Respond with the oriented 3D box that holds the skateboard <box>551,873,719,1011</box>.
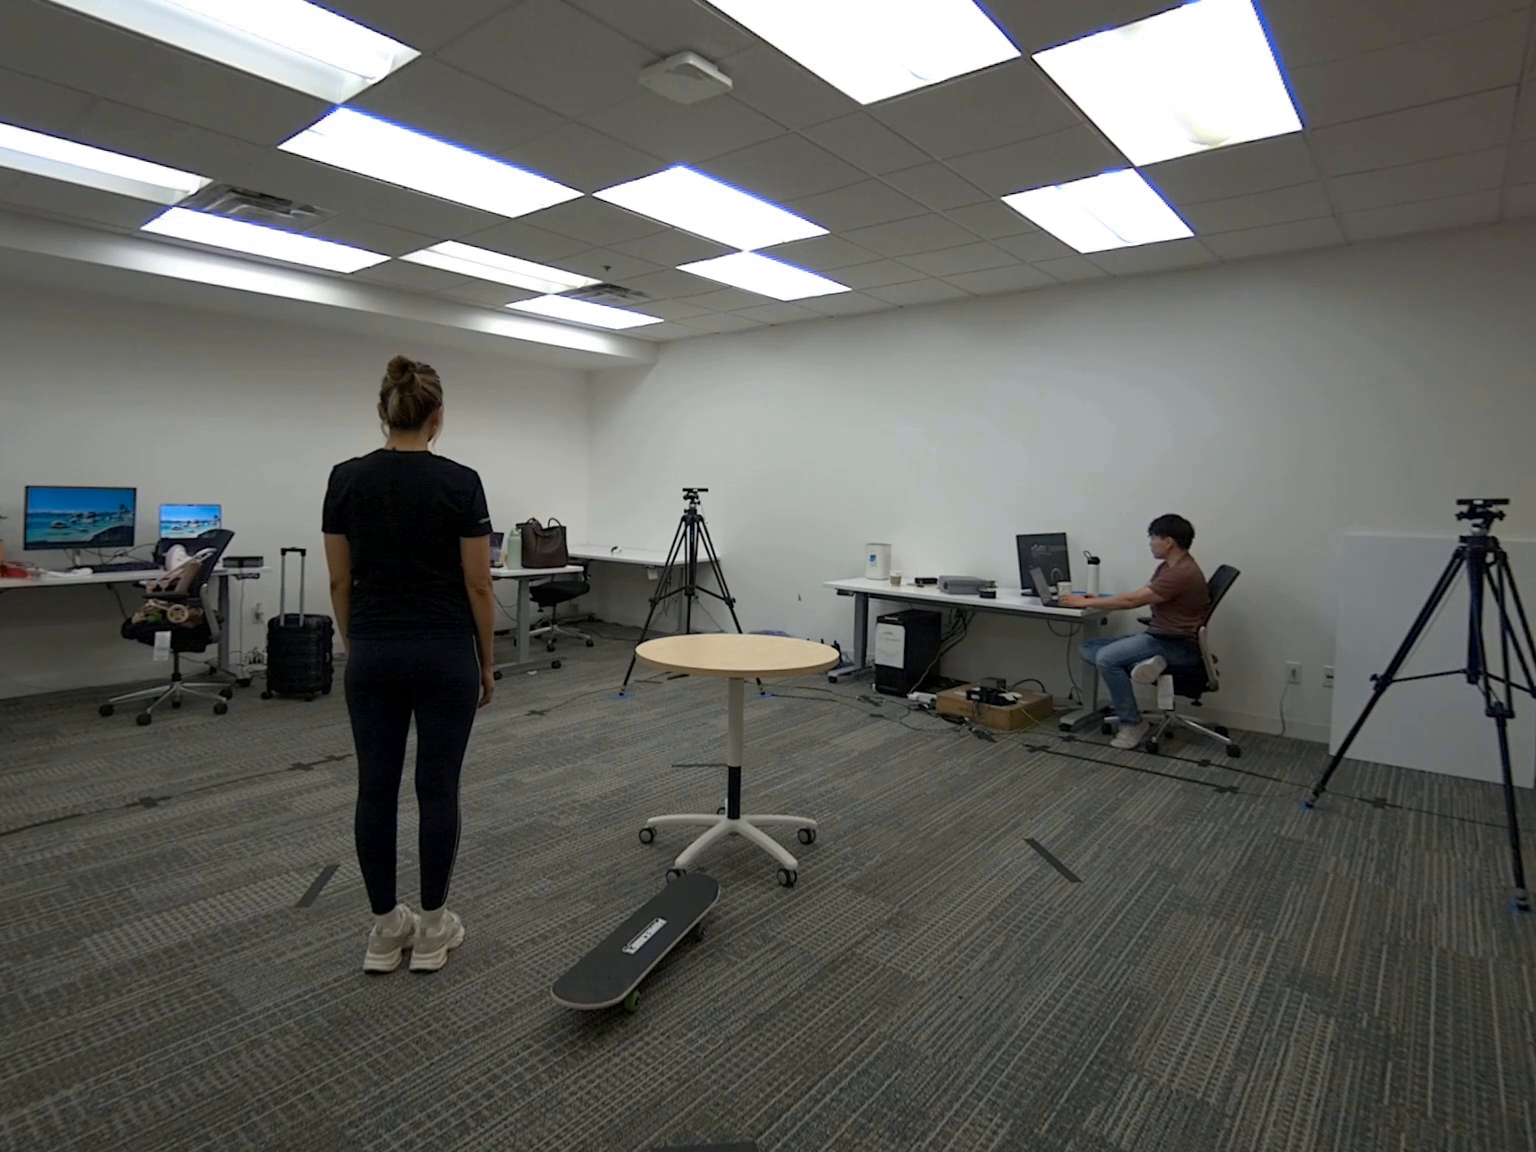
[{"bbox_3d":[-0.367,1.078,2.468,0.198,0.110,0.770,2,6,22],"label":"skateboard"}]
